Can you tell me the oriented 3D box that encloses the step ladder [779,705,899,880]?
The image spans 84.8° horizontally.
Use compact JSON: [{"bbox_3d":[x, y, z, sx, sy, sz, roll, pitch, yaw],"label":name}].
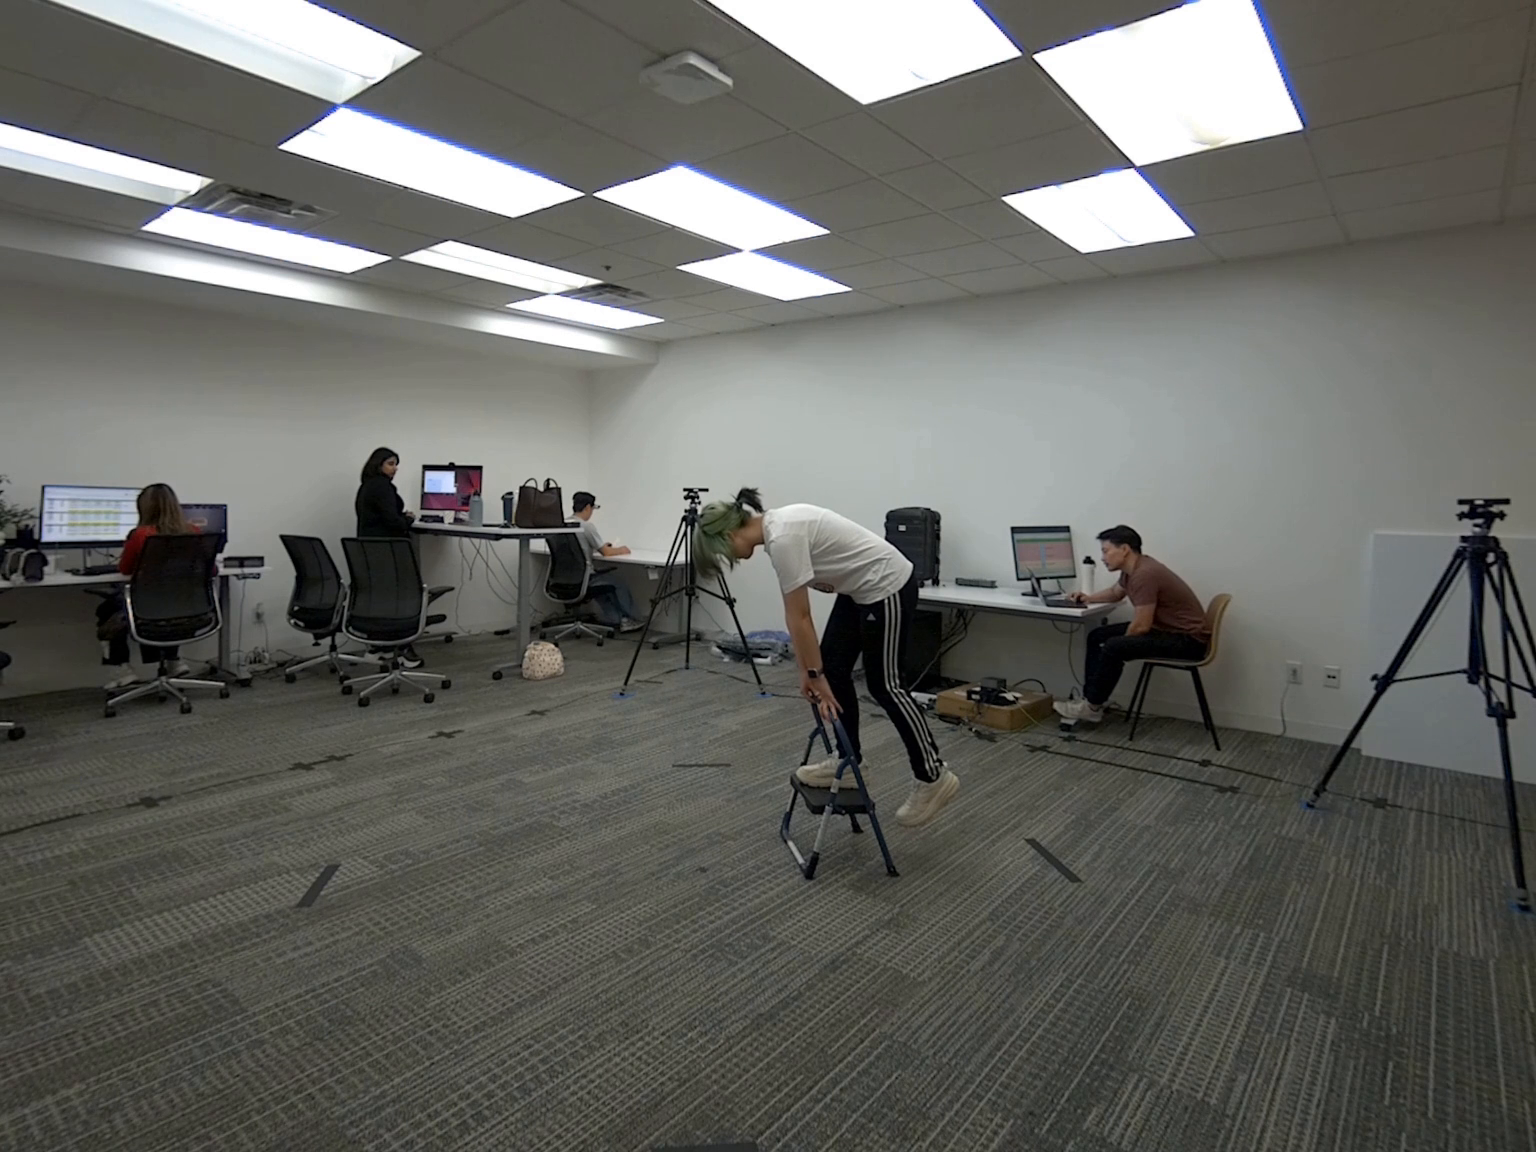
[{"bbox_3d":[0.260,0.766,3.254,0.345,0.604,0.437,1,4,-12],"label":"step ladder"}]
